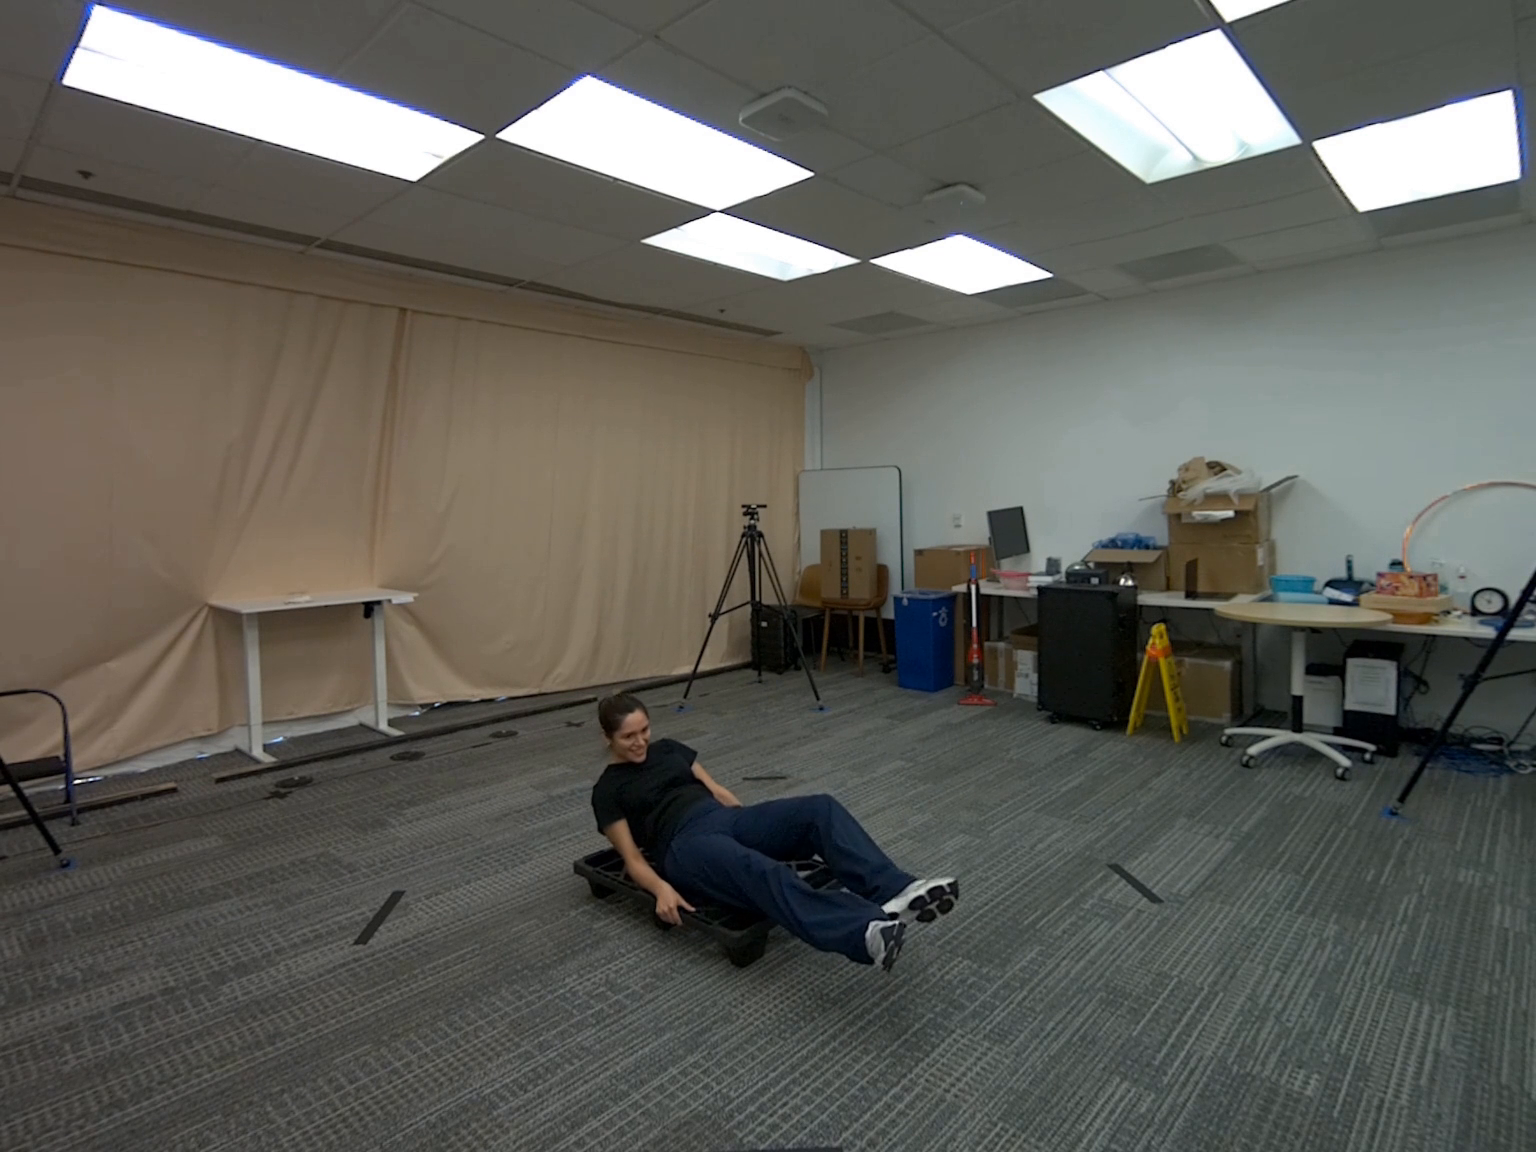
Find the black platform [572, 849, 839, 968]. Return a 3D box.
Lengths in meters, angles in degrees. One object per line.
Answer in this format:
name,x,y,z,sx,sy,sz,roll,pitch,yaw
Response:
black platform,-0.189,1.080,2.940,0.832,0.143,0.587,3,7,42
